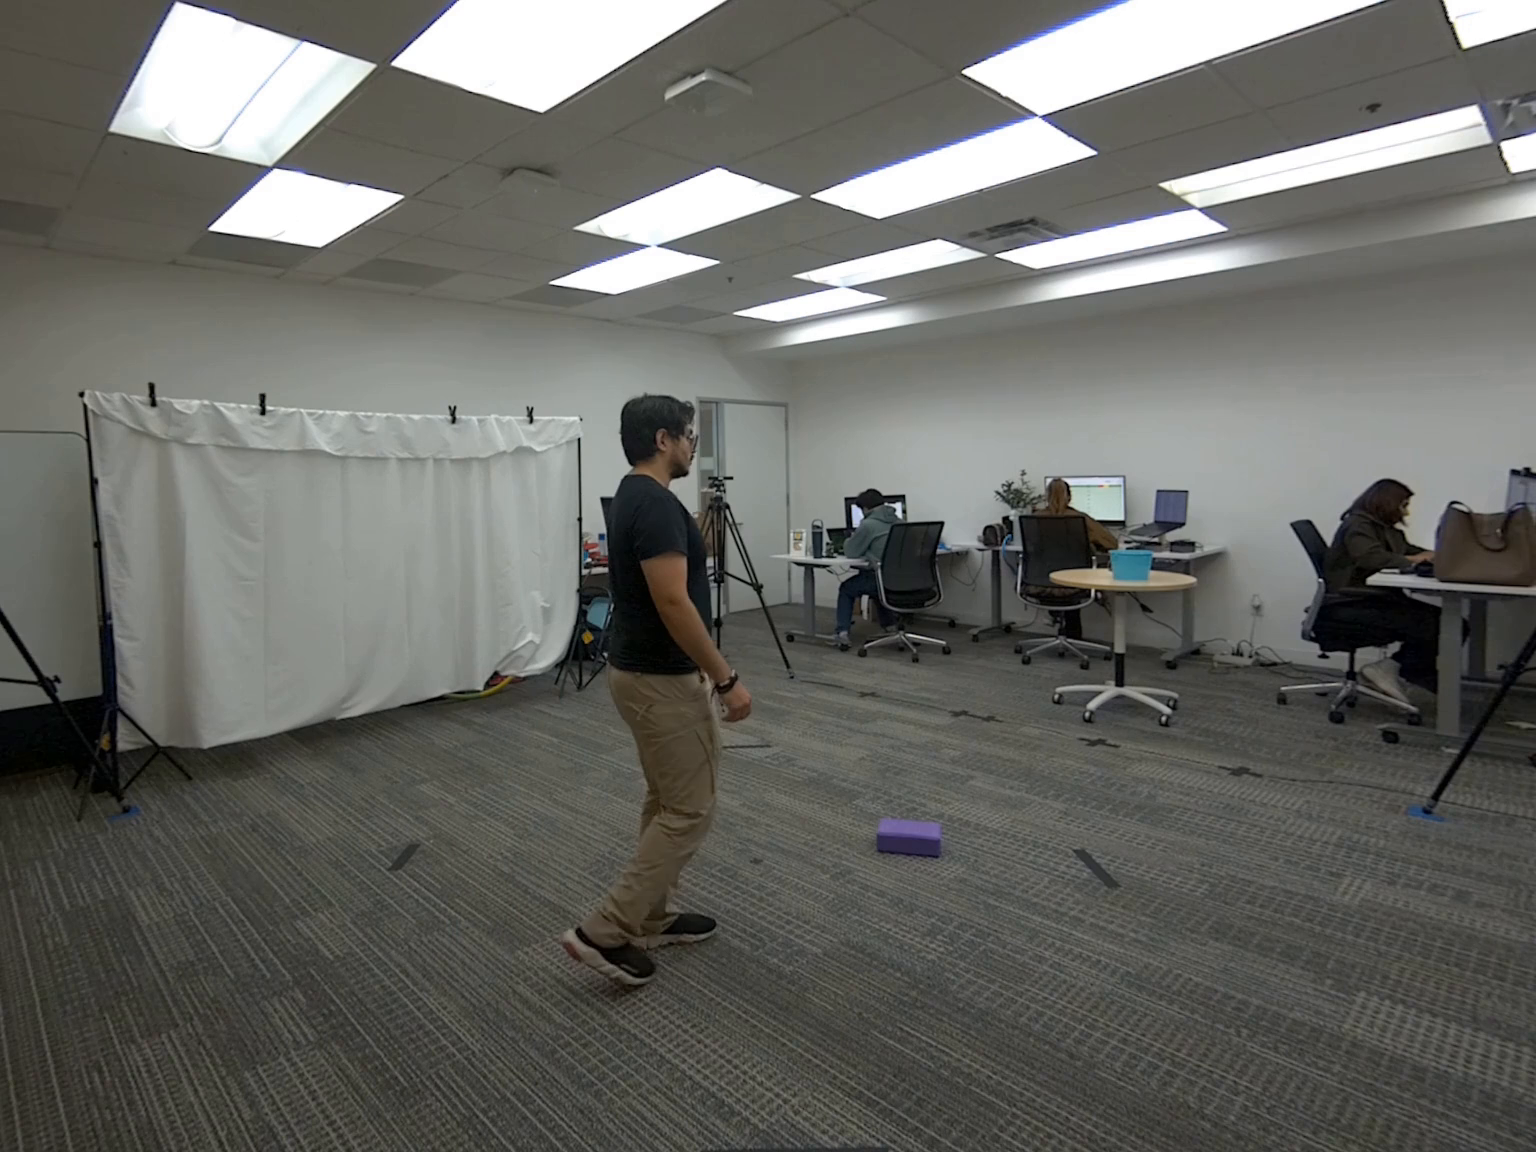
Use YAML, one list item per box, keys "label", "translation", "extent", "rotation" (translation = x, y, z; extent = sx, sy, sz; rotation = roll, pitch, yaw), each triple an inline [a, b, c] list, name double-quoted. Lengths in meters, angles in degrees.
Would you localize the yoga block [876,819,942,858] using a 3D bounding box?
- label: "yoga block"
  translation: [0.533, 0.976, 3.192]
  extent: [0.233, 0.076, 0.147]
  rotation: [-1, 7, 15]
